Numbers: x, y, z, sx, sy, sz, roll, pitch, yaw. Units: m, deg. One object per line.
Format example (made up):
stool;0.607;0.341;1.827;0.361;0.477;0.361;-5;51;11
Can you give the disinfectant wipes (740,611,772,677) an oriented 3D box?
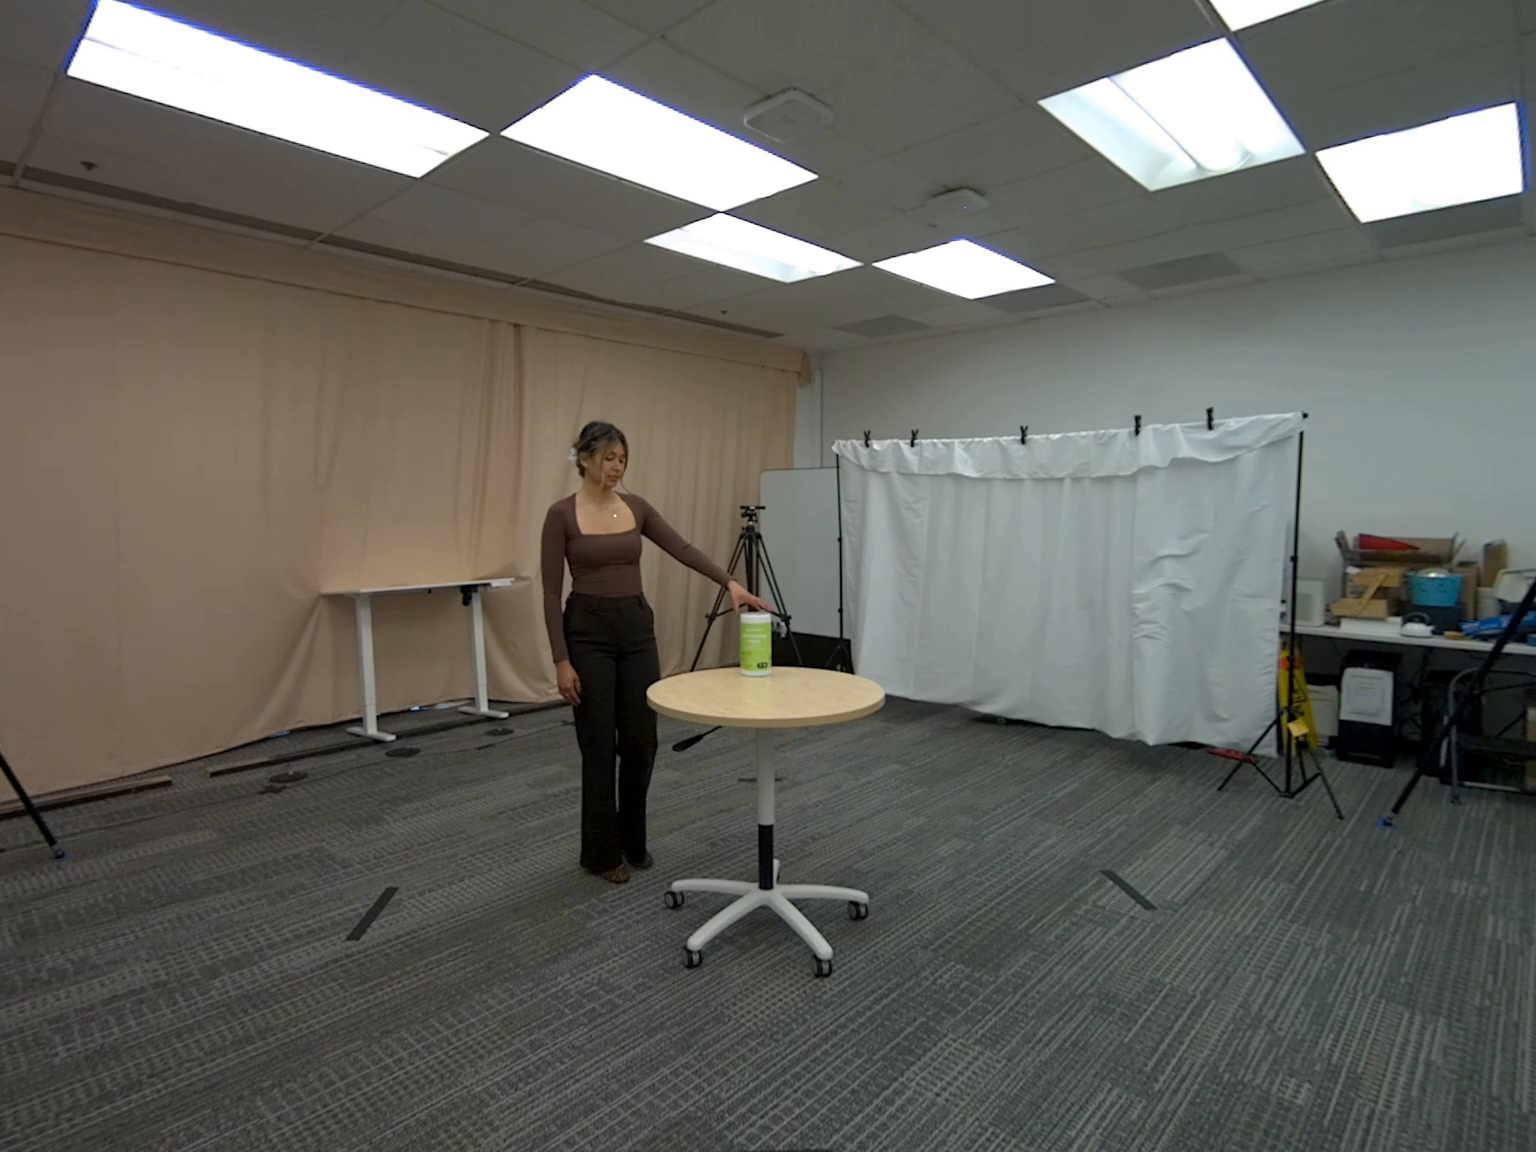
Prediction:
disinfectant wipes;-0.037;0.241;2.980;0.118;0.217;0.118;0;3;-2
